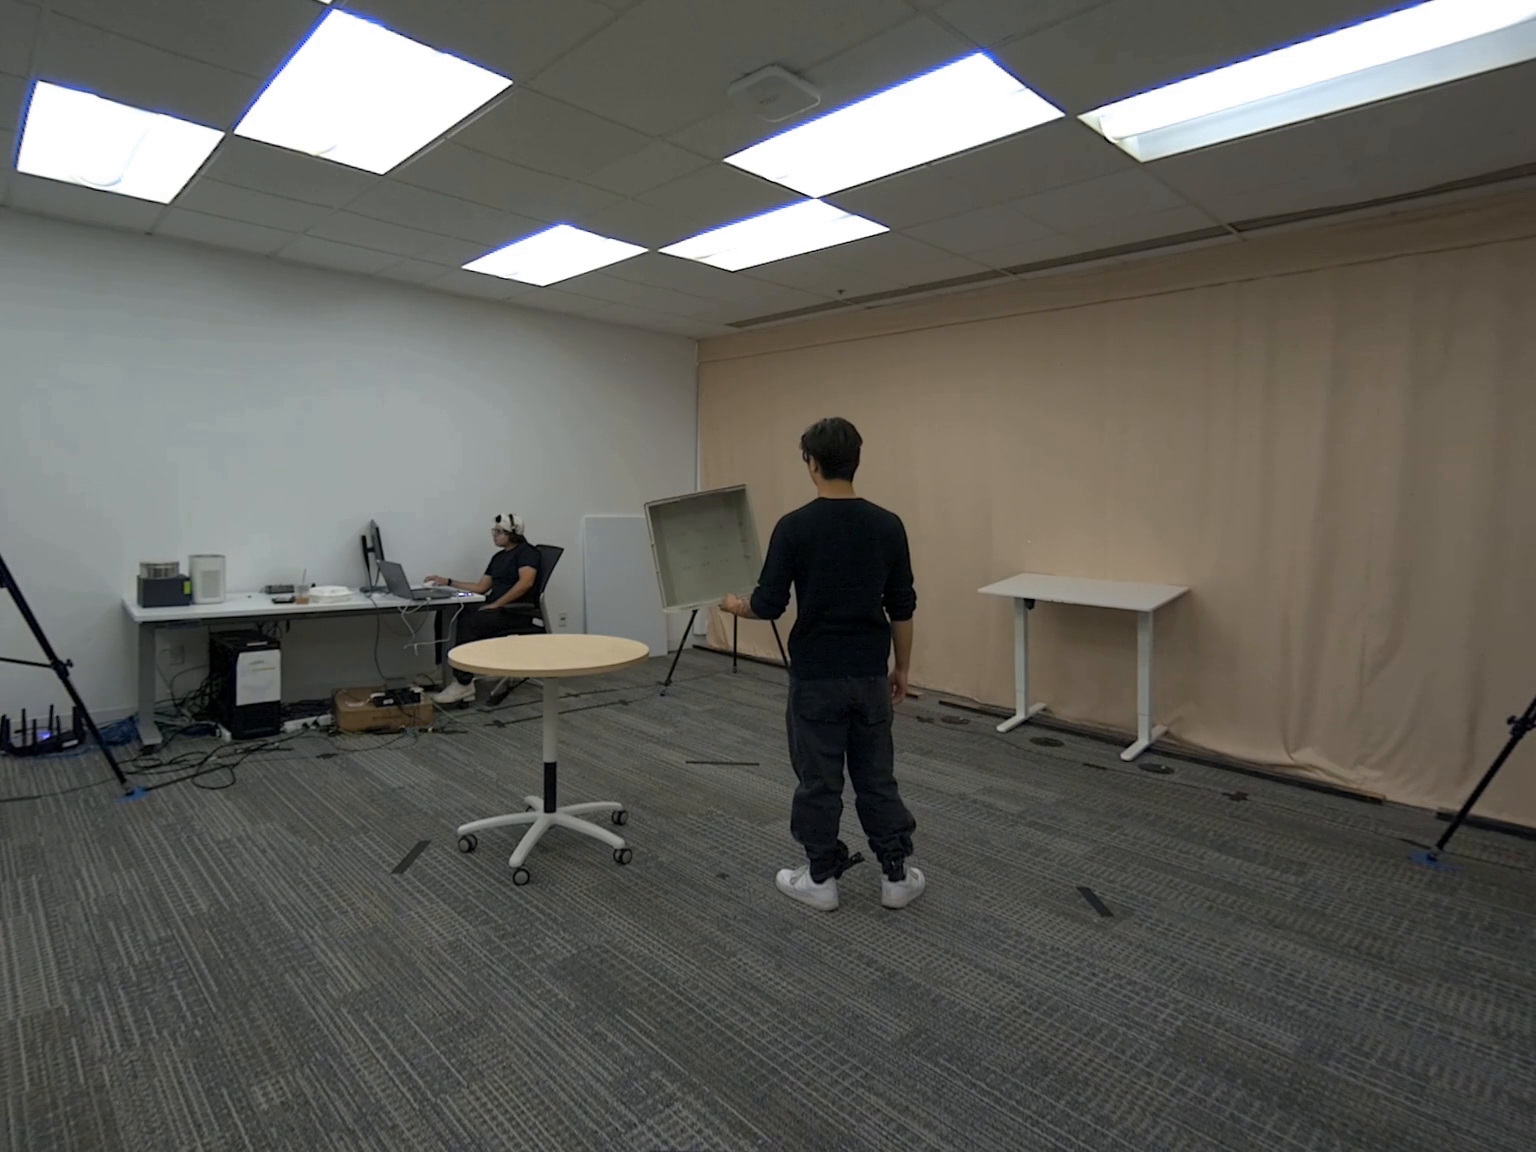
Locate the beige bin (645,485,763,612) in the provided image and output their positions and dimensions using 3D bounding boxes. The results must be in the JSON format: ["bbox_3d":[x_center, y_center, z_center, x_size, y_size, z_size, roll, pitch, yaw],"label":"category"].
[{"bbox_3d":[-0.242,-0.105,3.160,0.373,0.422,0.191,-12,2,-17],"label":"beige bin"}]
